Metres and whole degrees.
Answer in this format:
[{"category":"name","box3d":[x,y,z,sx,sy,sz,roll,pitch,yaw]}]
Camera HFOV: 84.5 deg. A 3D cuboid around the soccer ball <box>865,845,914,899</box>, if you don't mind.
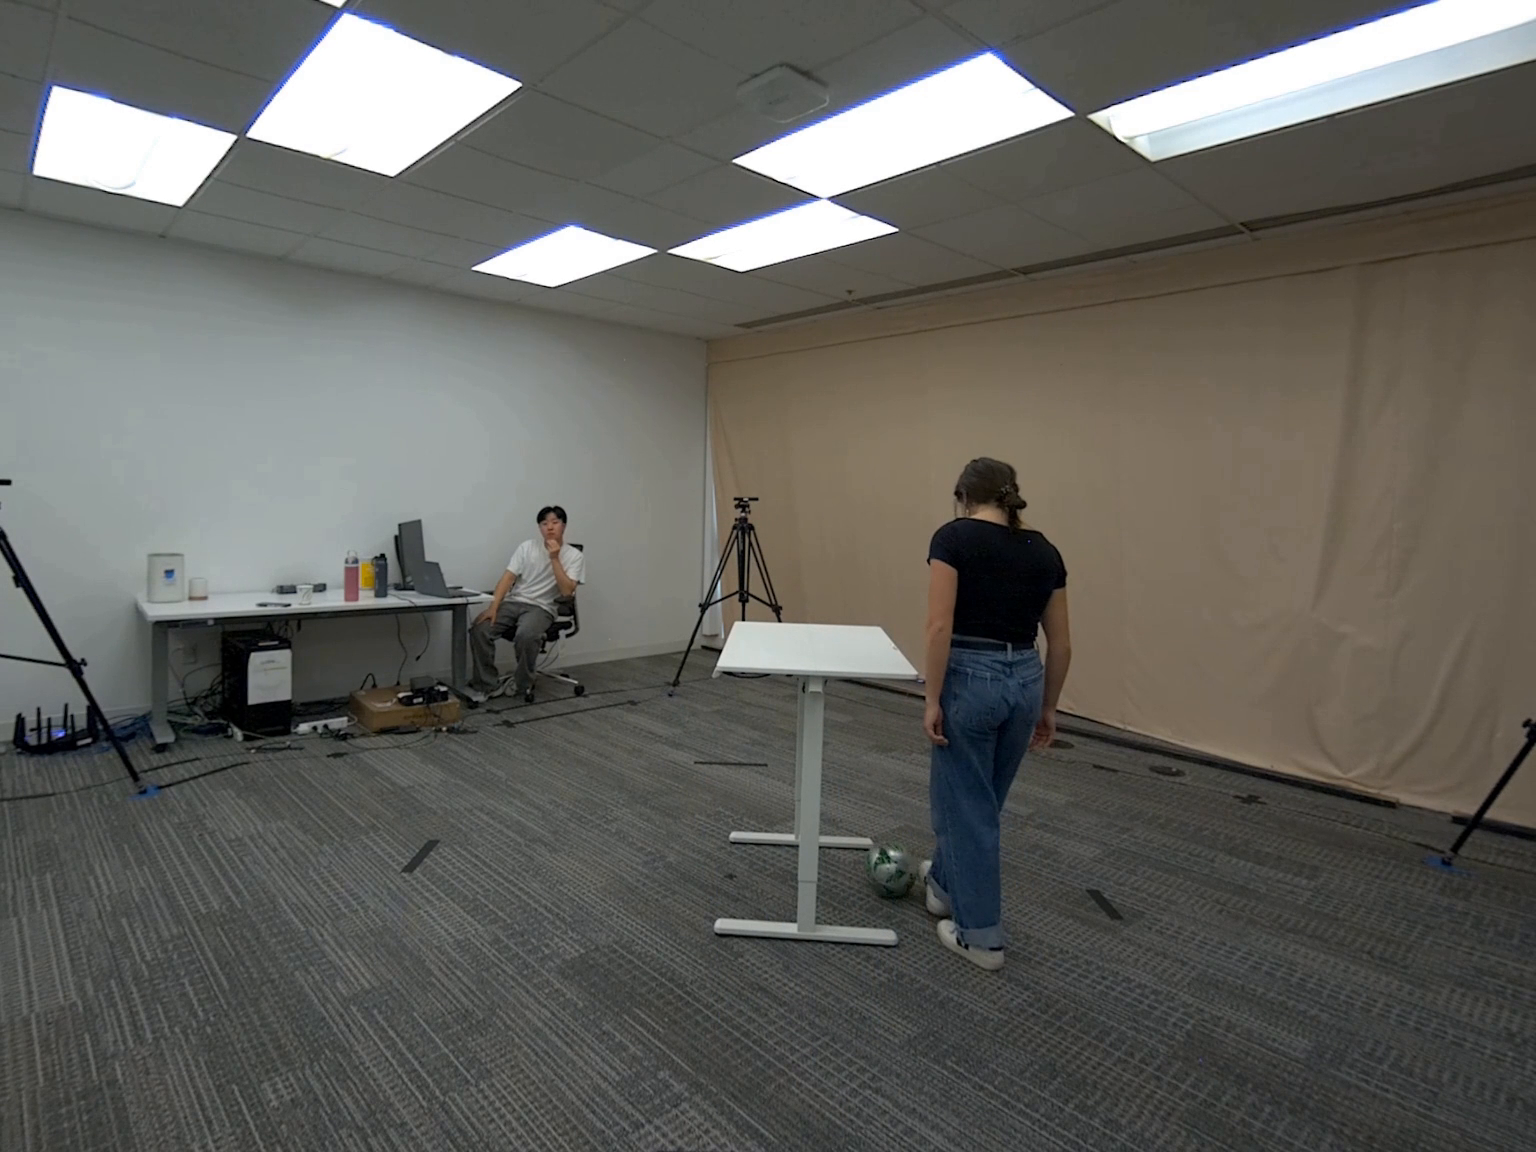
[{"category":"soccer ball","box3d":[0.421,1.044,2.981,0.187,0.187,0.188,1,4,-1]}]
